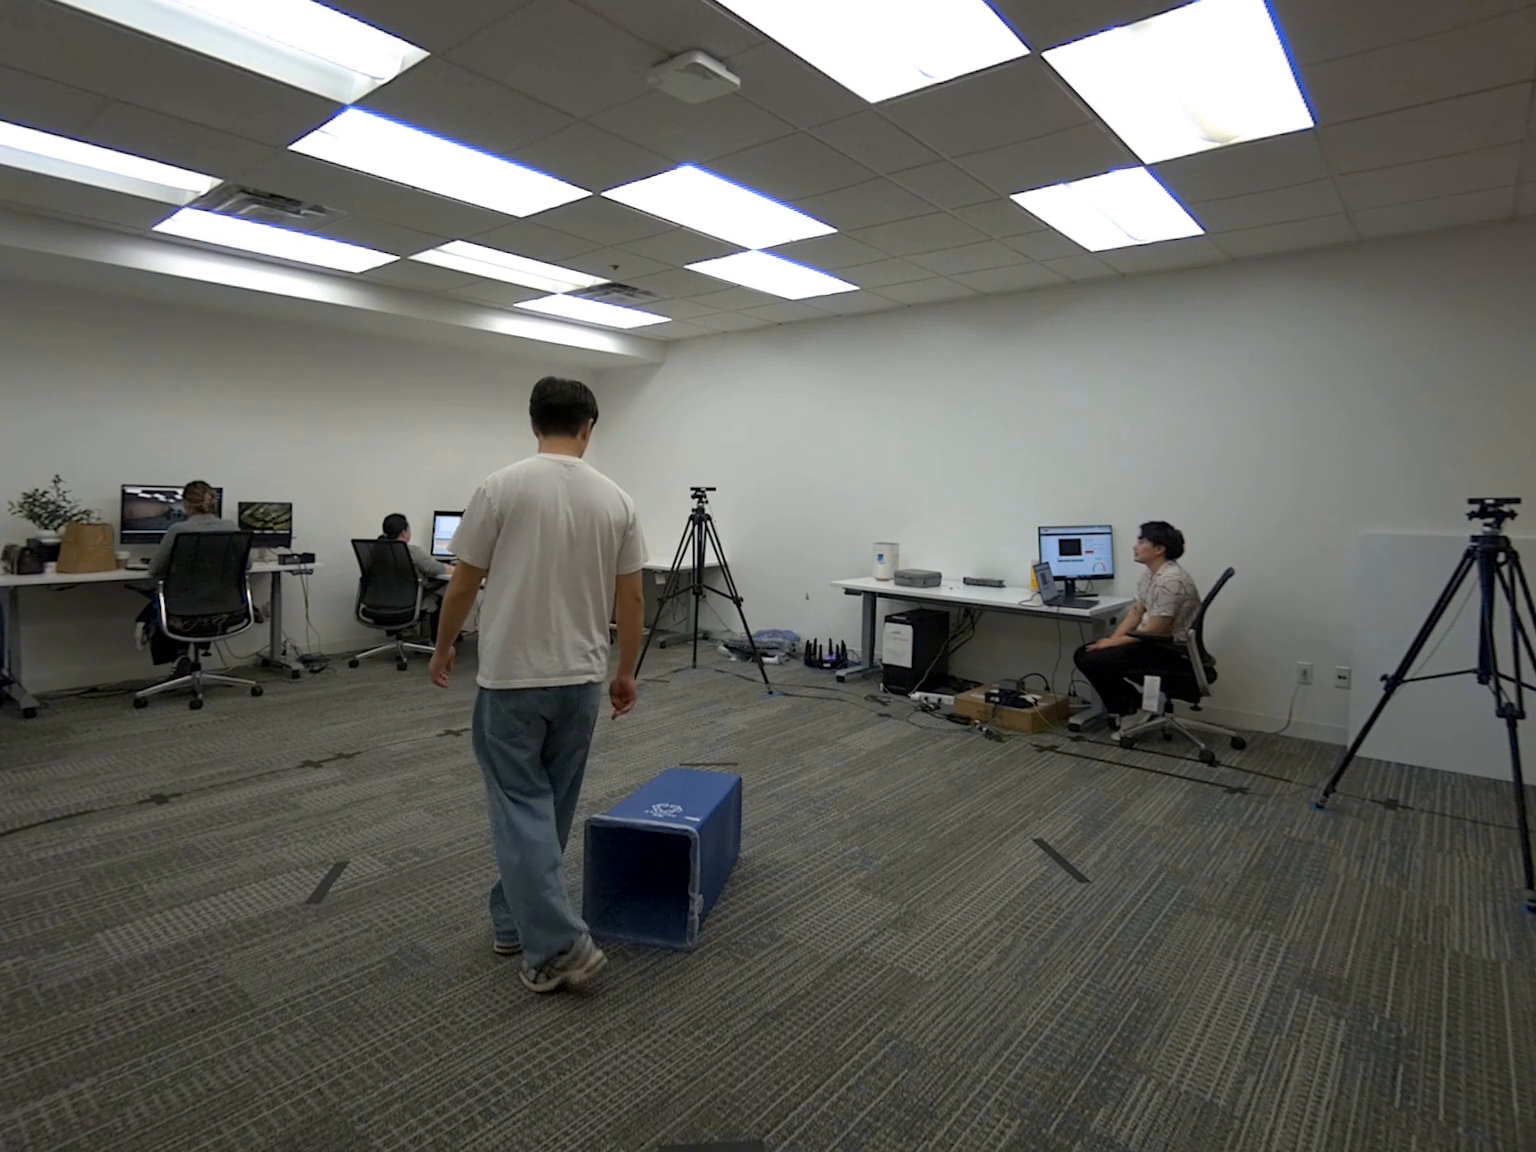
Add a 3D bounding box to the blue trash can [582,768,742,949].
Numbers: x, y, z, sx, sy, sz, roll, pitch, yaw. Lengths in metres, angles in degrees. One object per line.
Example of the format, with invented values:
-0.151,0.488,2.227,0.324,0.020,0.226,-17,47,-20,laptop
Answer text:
-0.332,0.913,2.916,0.379,0.377,0.704,1,2,12,blue trash can
